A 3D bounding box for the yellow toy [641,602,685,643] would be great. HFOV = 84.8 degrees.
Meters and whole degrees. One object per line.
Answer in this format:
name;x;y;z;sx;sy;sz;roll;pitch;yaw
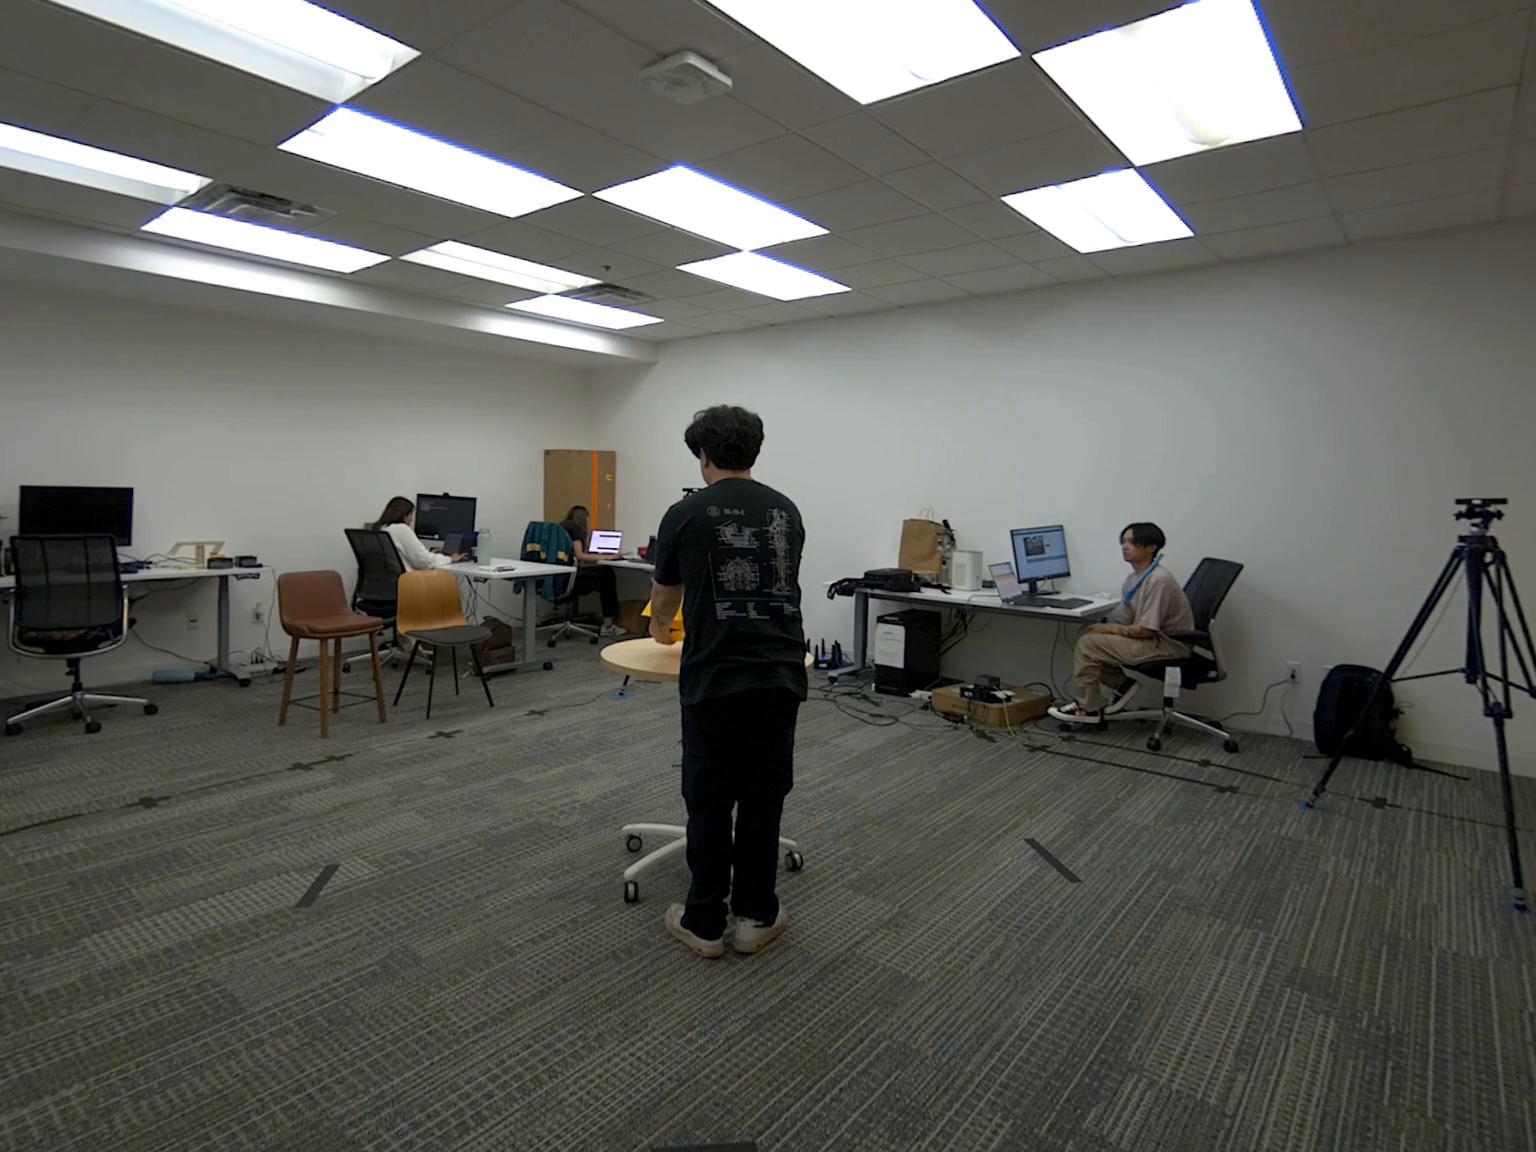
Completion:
yellow toy;-0.333;0.109;3.056;0.187;0.230;0.211;-1;3;-43
